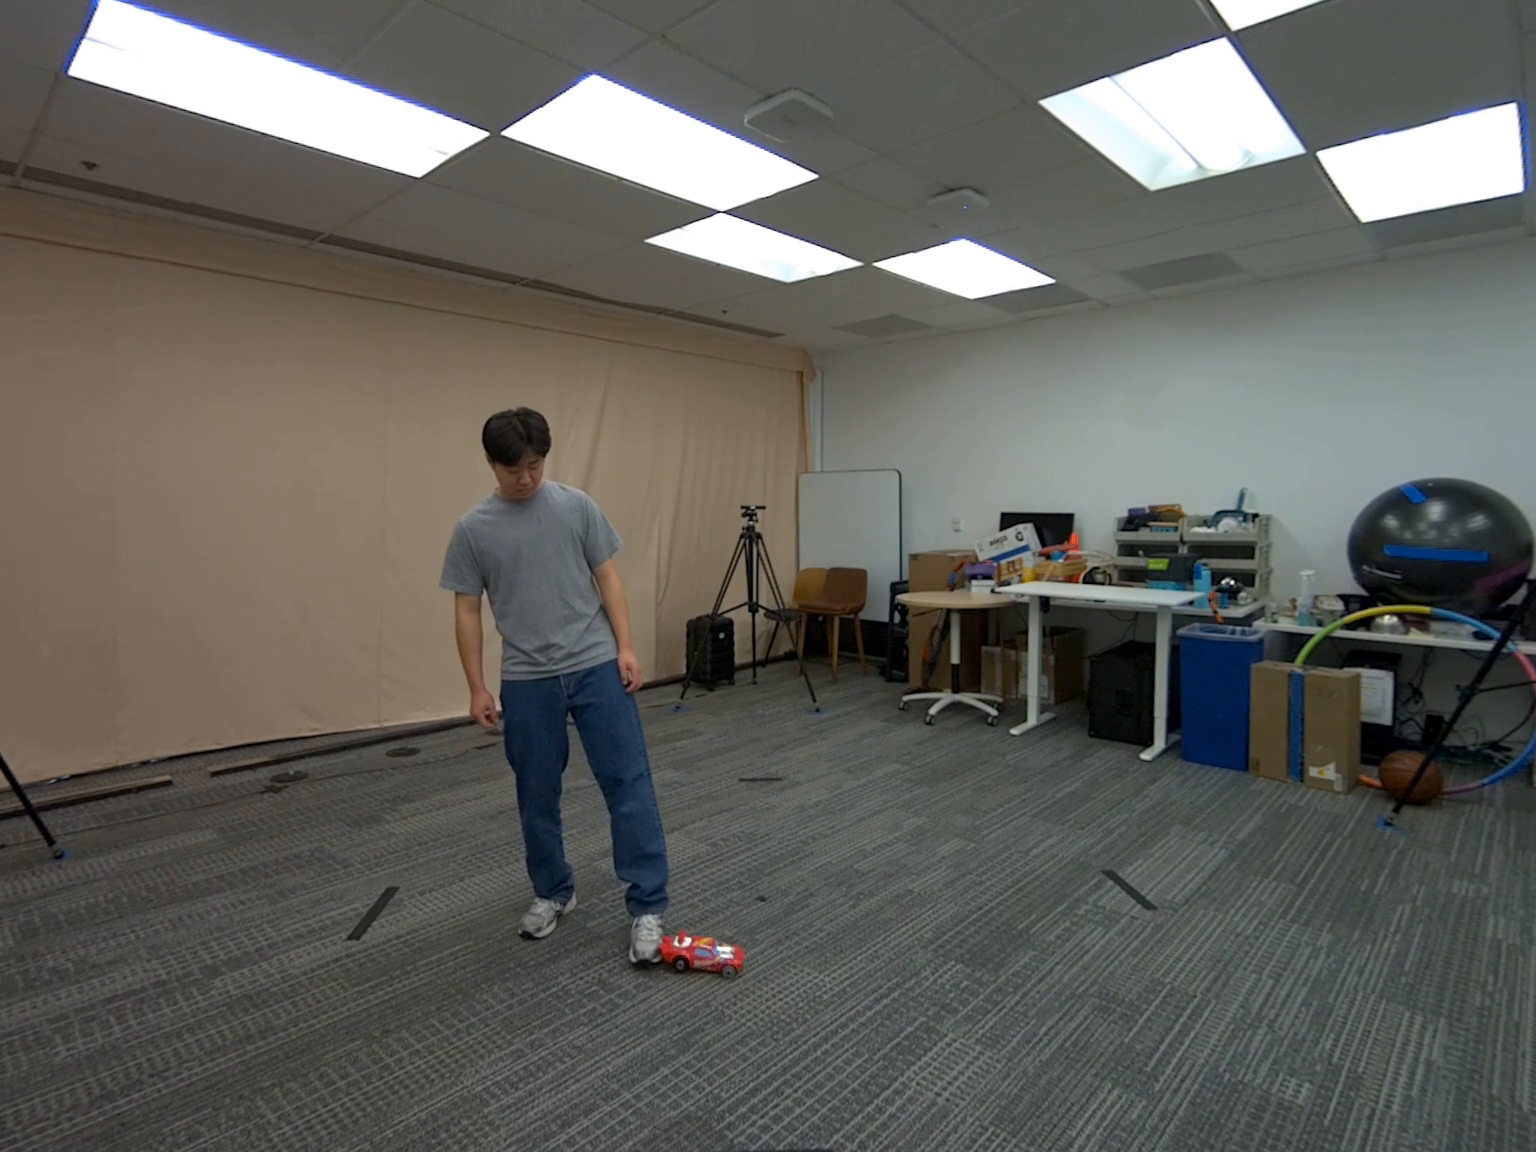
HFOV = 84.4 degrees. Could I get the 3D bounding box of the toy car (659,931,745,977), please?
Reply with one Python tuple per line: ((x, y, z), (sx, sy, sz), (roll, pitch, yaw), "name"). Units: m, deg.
((-0.202, 1.147, 2.539), (0.257, 0.083, 0.129), (15, 6, 8), "toy car")
